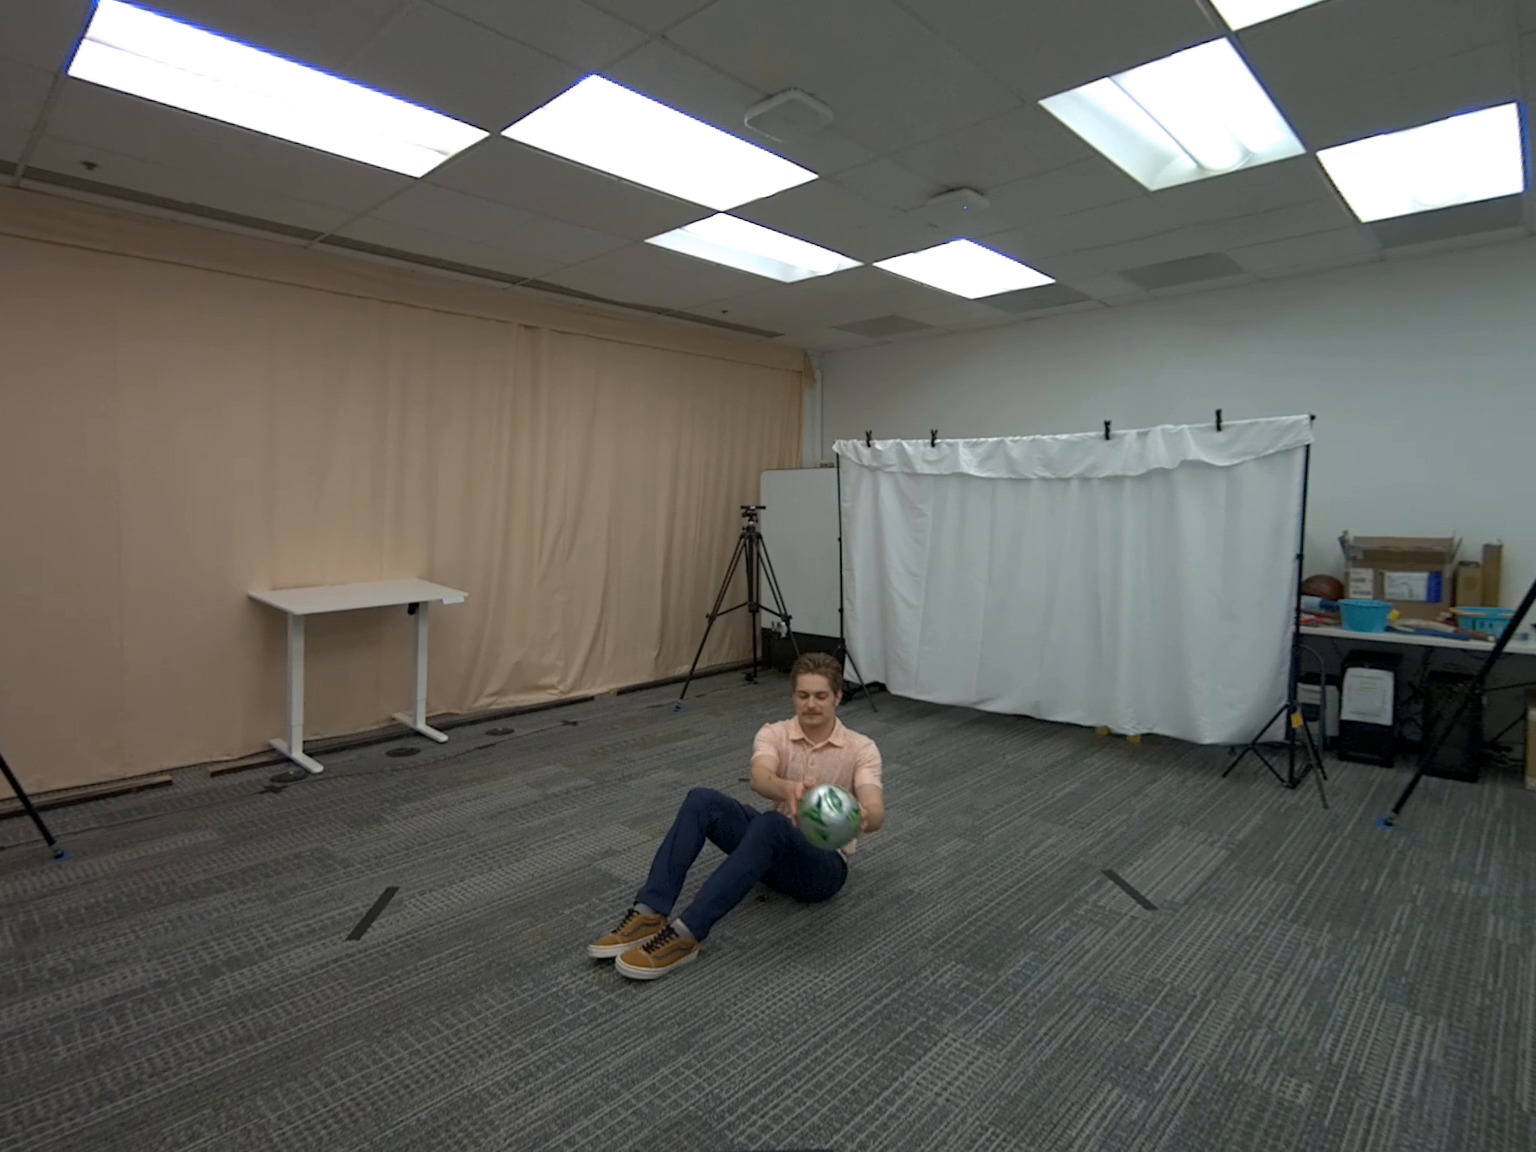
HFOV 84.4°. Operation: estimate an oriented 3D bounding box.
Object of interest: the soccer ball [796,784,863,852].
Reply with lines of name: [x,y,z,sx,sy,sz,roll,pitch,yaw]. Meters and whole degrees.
soccer ball: [0.188,0.735,2.470,0.187,0.187,0.188,0,4,-2]
